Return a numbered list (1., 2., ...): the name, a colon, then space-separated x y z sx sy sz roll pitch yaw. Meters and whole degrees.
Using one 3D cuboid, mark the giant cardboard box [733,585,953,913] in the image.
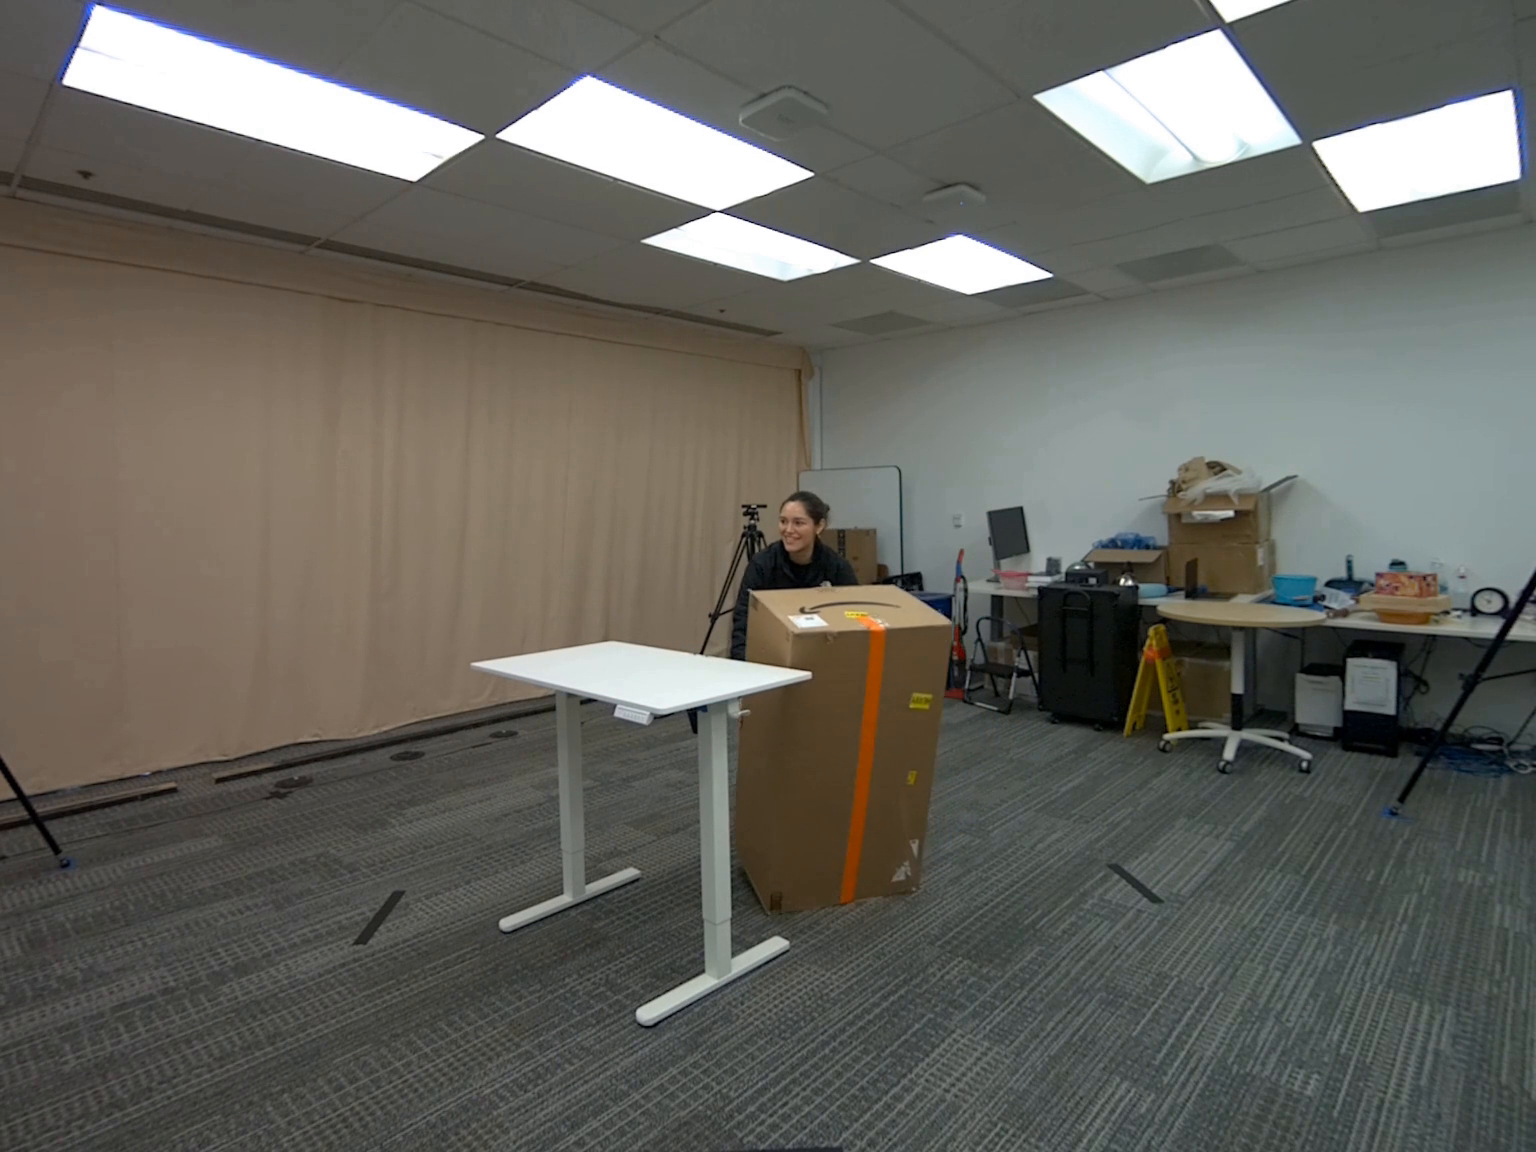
1. giant cardboard box: 0.245 0.590 2.990 0.567 1.017 0.438 -1 16 -19
